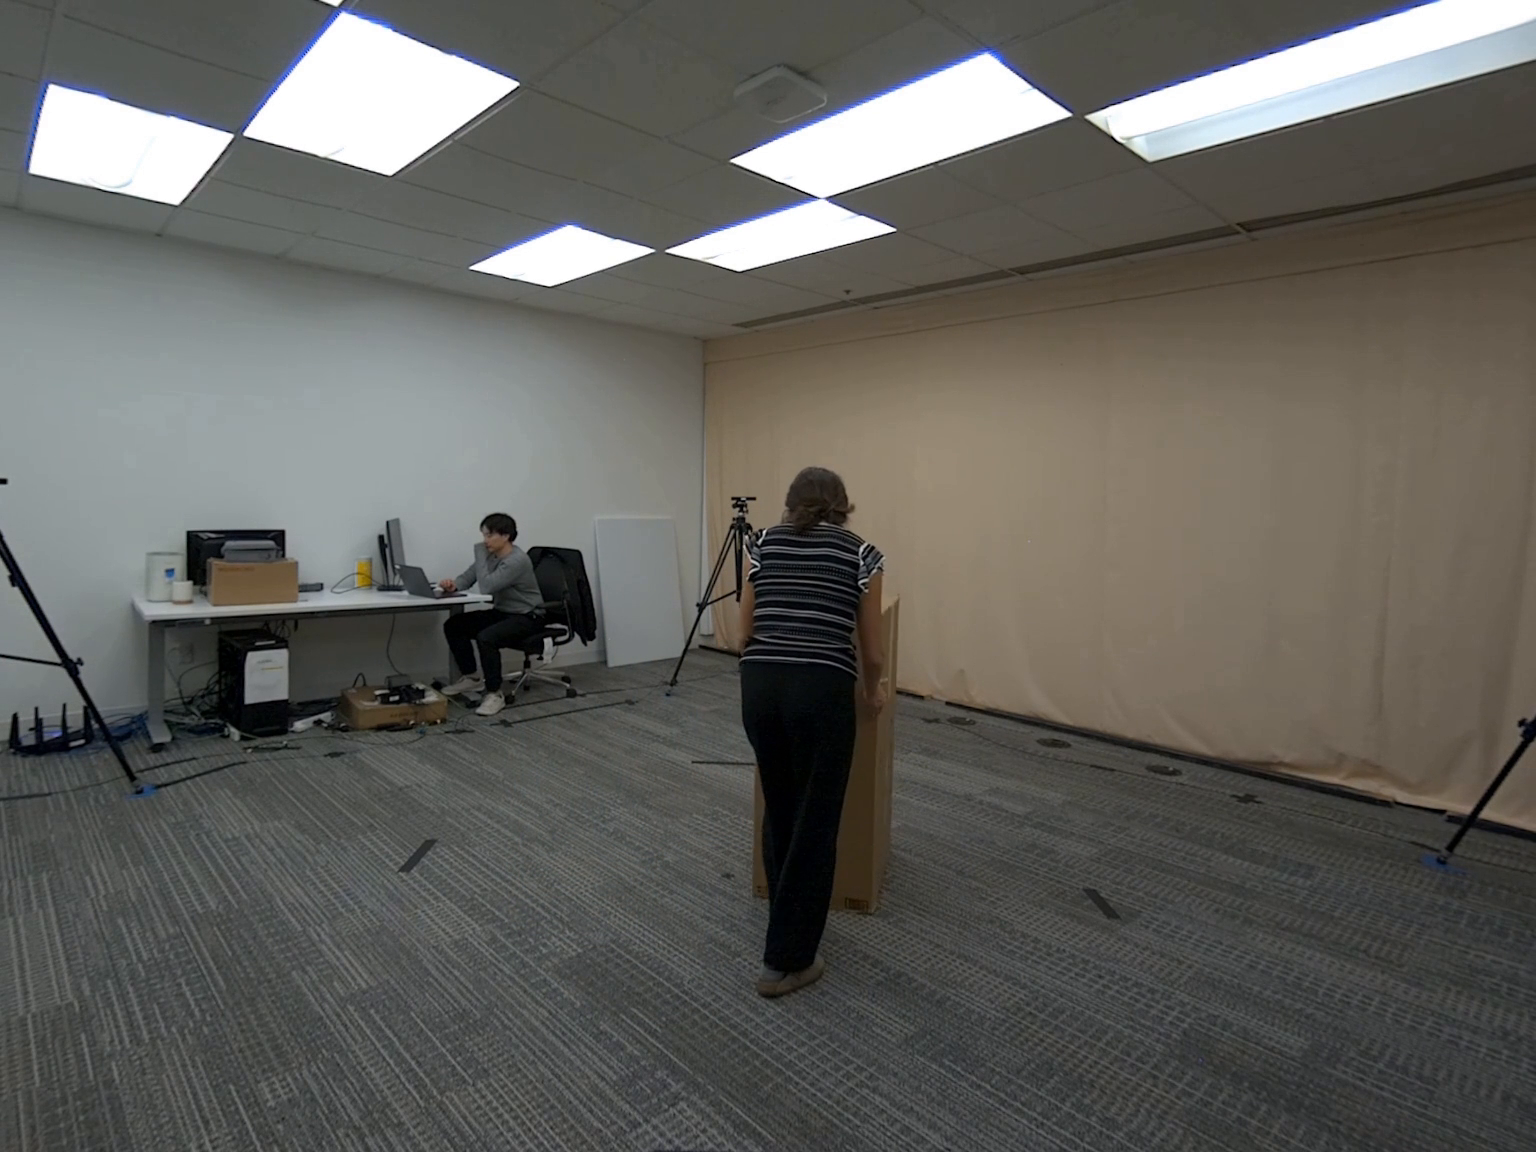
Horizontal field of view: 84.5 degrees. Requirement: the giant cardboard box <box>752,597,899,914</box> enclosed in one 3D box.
[{"bbox_3d":[0.223,0.602,3.130,0.432,1.023,0.571,3,4,15],"label":"giant cardboard box"}]
